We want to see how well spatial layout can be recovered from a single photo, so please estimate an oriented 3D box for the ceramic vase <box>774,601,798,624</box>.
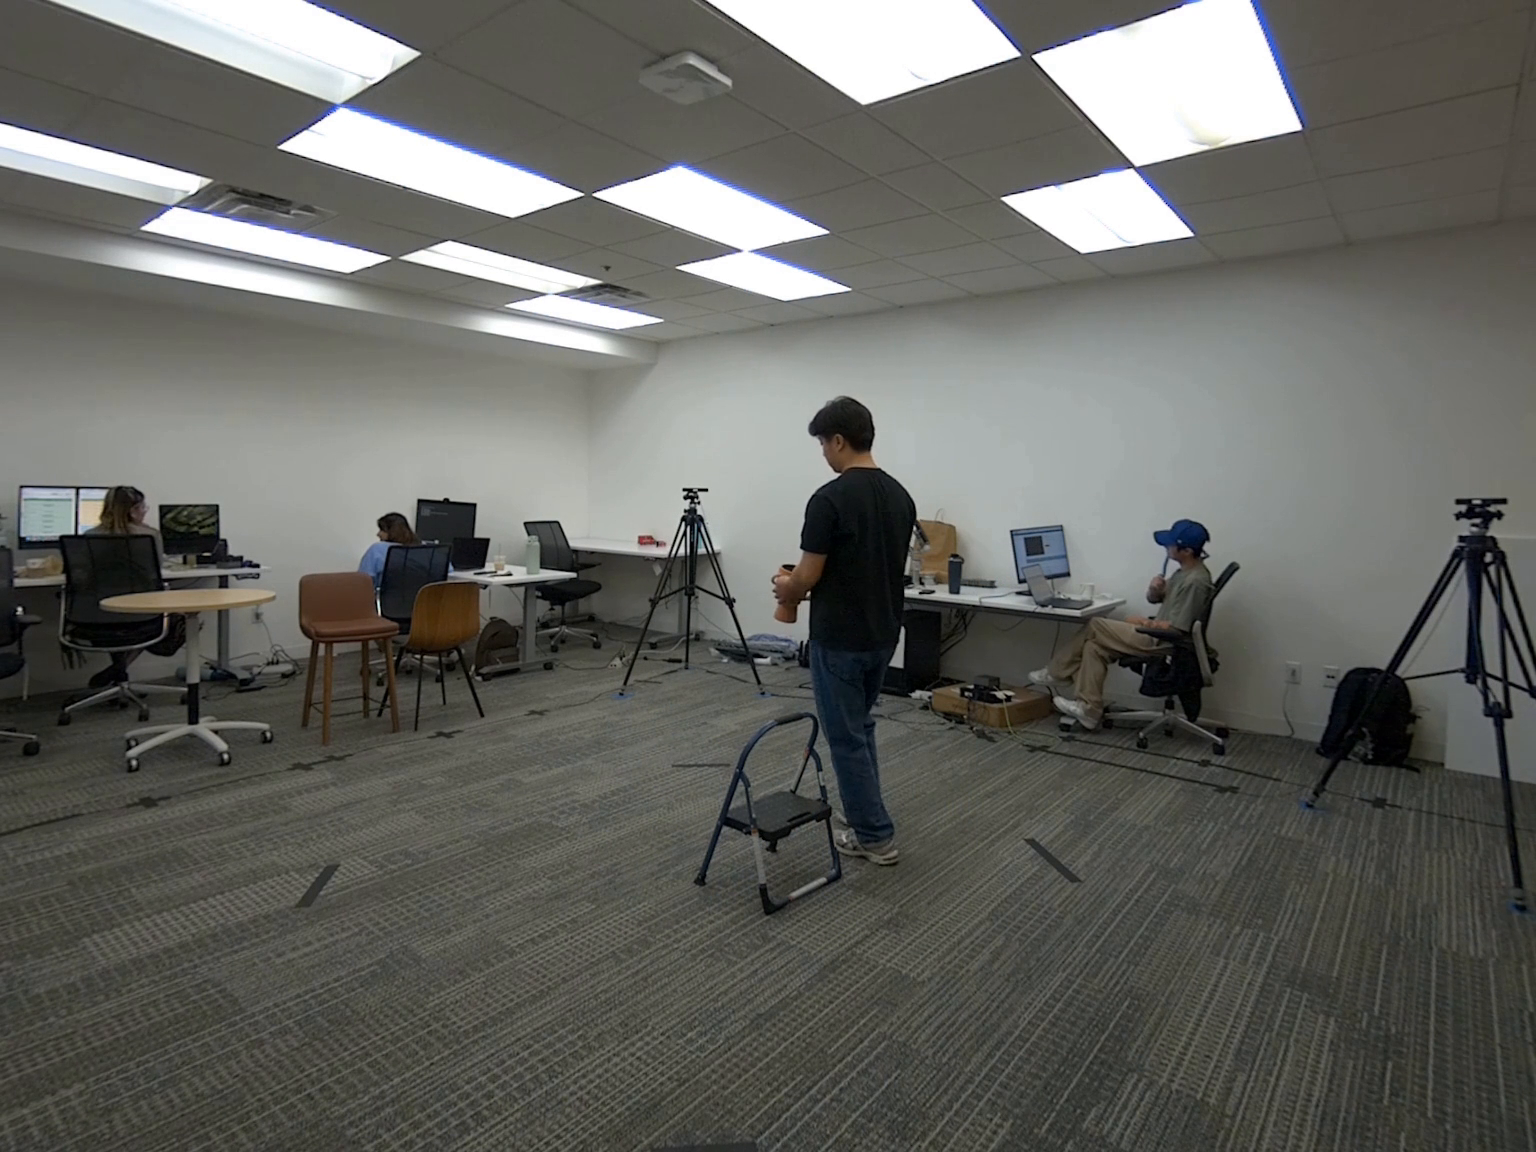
[{"bbox_3d":[0.092,0.075,3.490,0.162,0.218,0.133,16,14,13],"label":"ceramic vase"}]
